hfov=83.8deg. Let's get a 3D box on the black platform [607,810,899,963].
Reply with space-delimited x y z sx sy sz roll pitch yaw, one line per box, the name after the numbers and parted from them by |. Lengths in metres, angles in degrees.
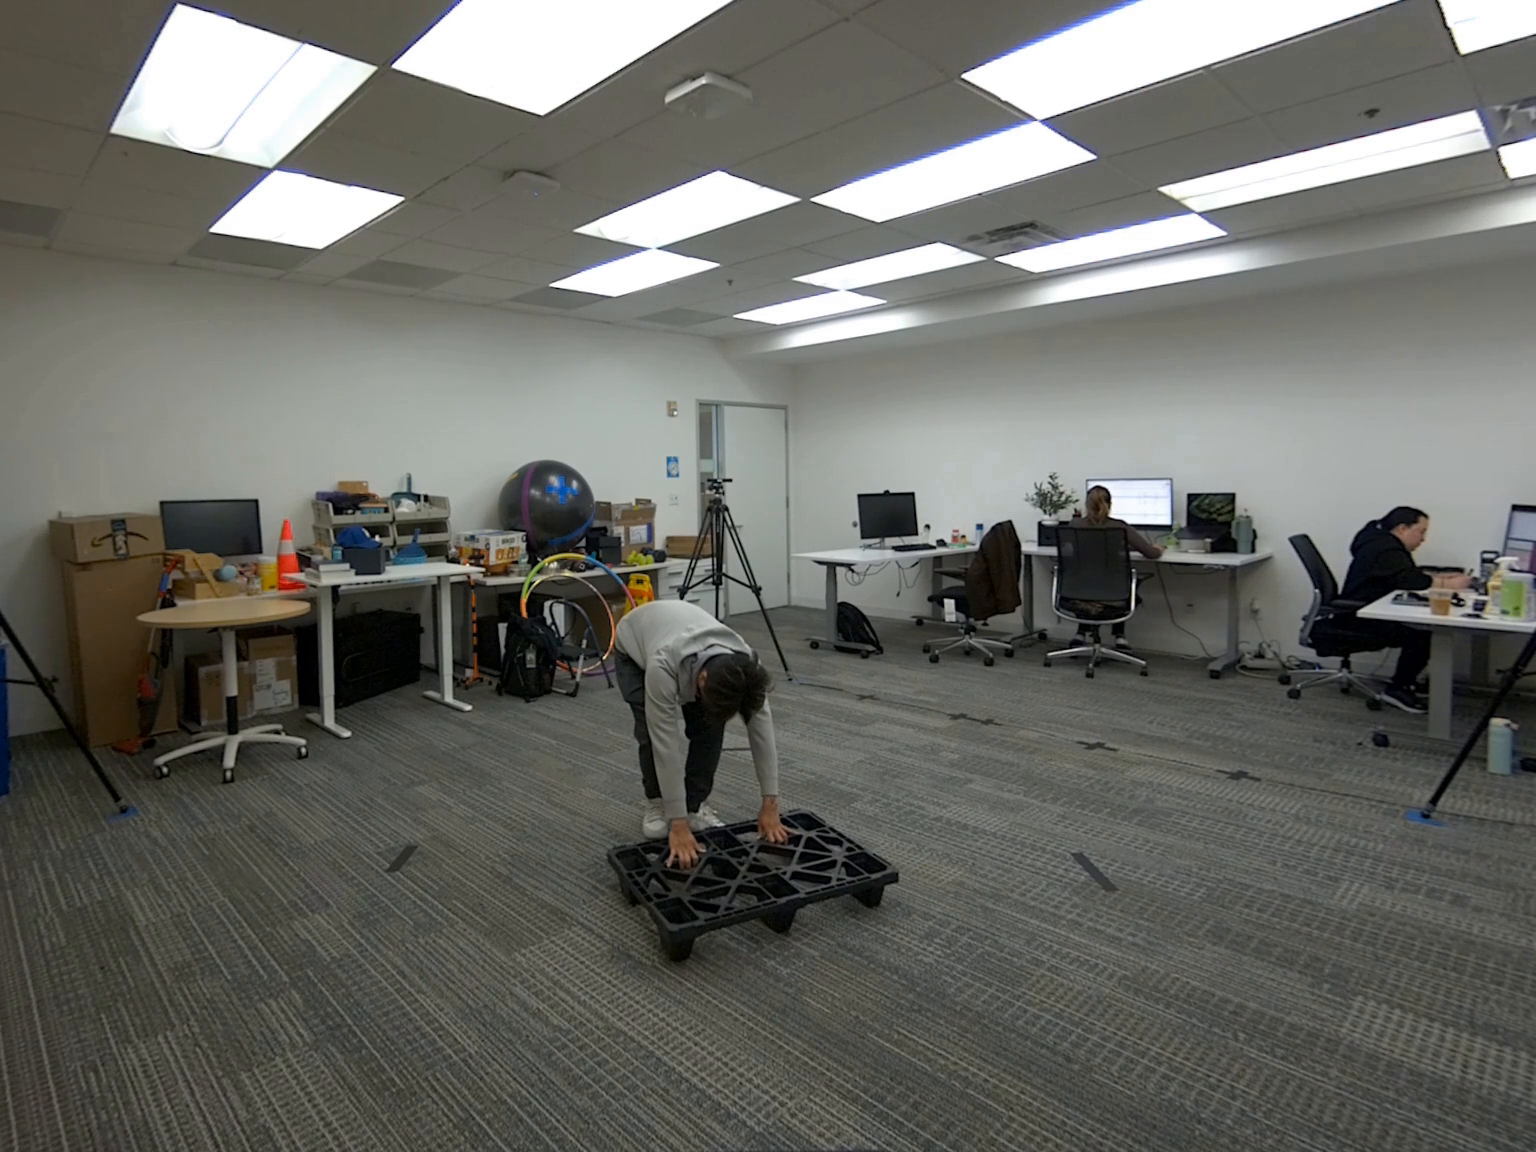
-0.065 1.008 2.840 0.788 0.143 0.621 -4 7 -27 | black platform
